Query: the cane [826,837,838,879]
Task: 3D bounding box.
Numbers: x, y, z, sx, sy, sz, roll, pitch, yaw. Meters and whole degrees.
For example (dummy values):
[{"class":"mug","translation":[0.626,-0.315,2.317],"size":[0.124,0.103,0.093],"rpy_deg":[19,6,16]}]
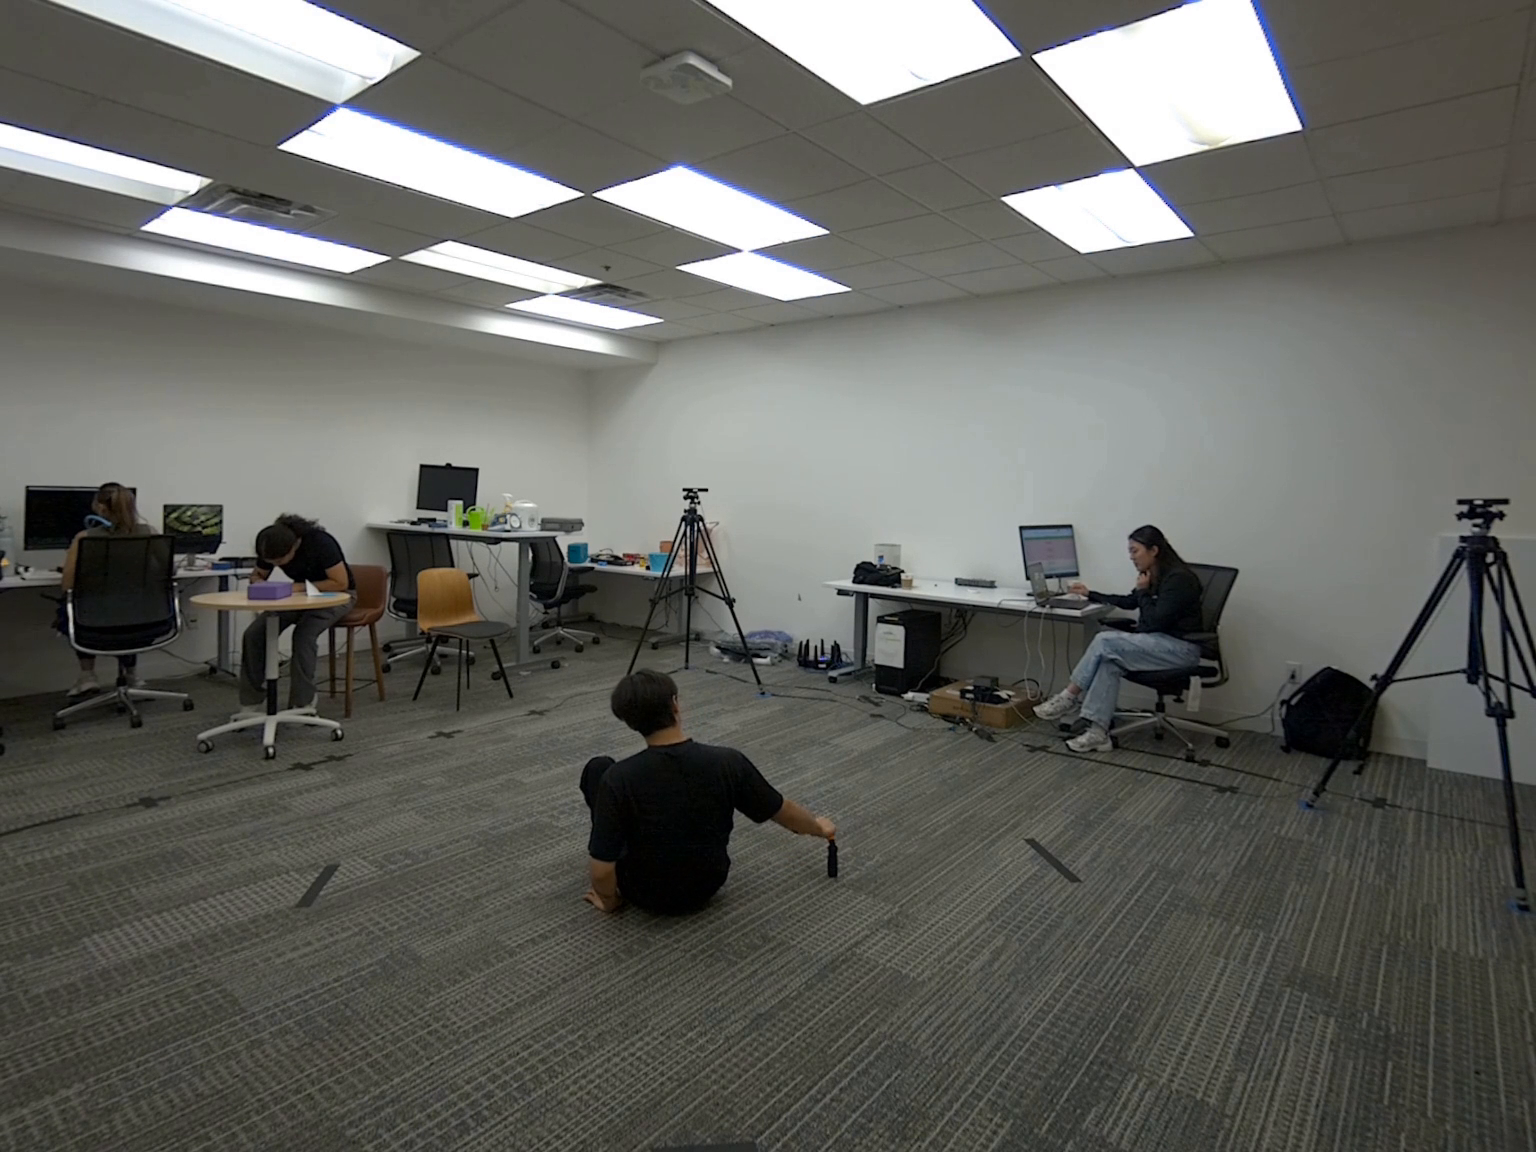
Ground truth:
[{"class":"cane","translation":[-0.022,0.928,3.445],"size":[0.147,0.206,0.938],"rpy_deg":[2,5,-35]}]
